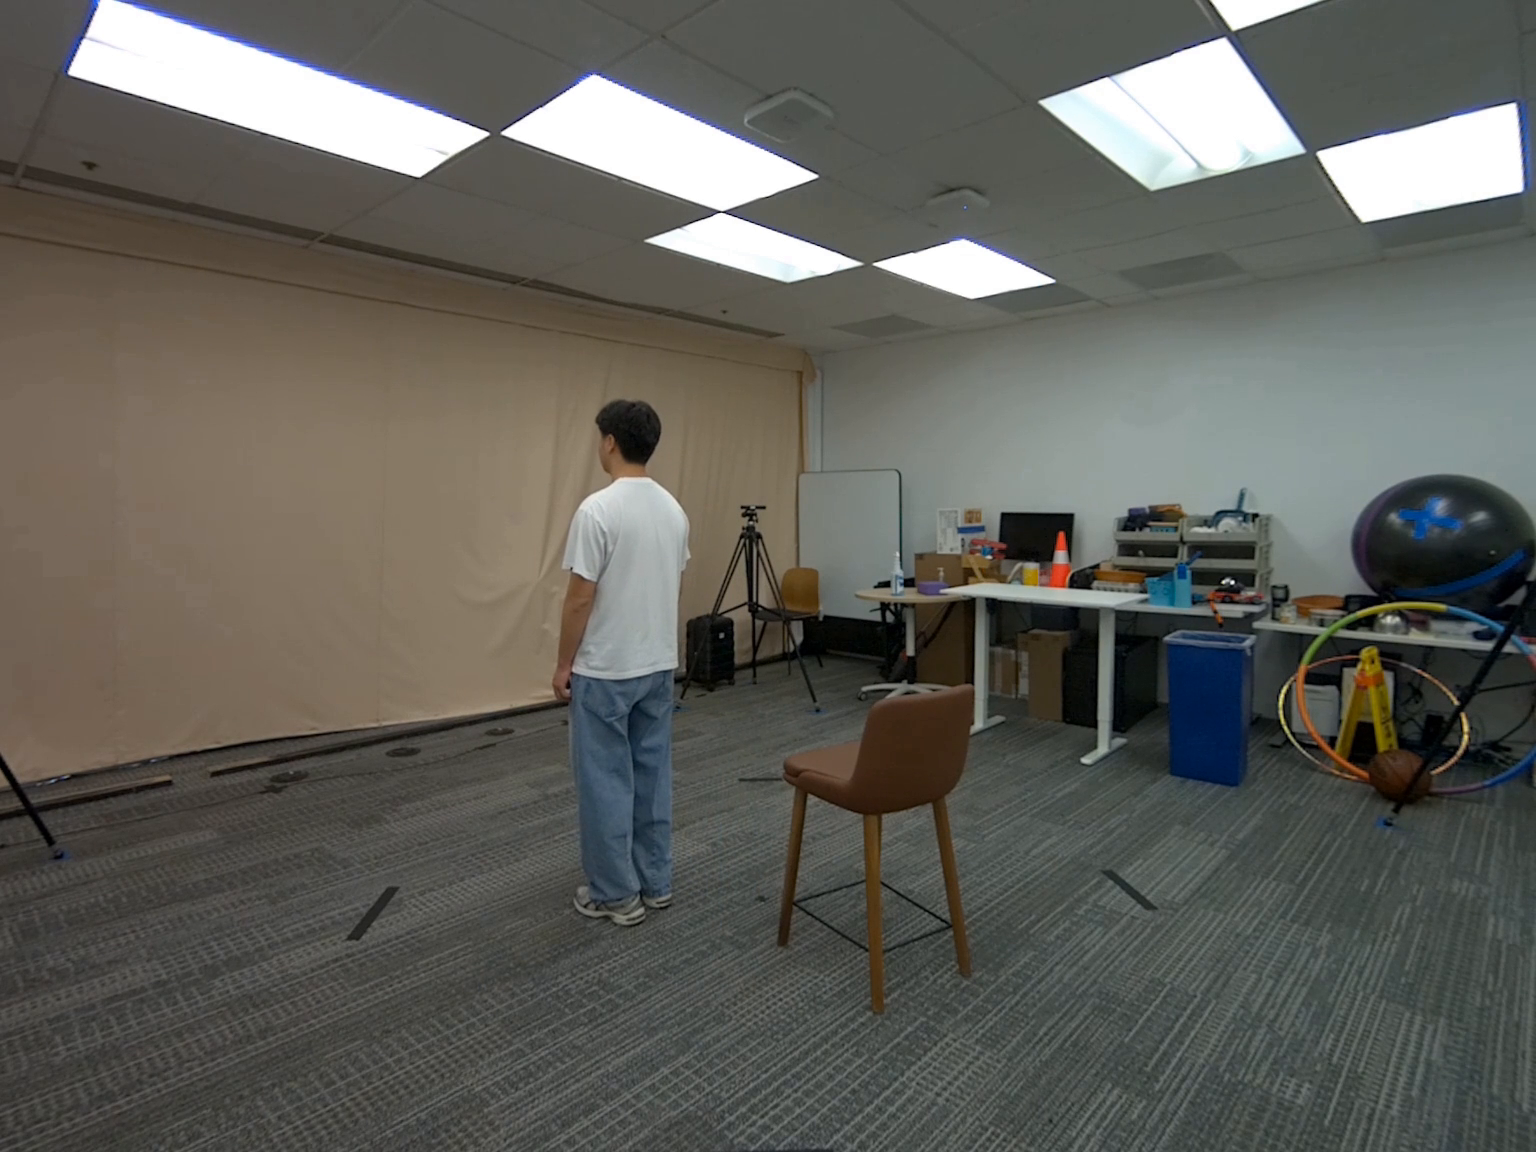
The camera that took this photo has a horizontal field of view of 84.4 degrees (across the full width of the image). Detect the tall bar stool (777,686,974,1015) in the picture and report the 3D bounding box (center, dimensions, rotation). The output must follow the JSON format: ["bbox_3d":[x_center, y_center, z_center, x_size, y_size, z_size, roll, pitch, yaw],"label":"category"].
[{"bbox_3d":[0.334,0.742,2.559,0.443,0.887,0.482,-2,6,-34],"label":"tall bar stool"}]
